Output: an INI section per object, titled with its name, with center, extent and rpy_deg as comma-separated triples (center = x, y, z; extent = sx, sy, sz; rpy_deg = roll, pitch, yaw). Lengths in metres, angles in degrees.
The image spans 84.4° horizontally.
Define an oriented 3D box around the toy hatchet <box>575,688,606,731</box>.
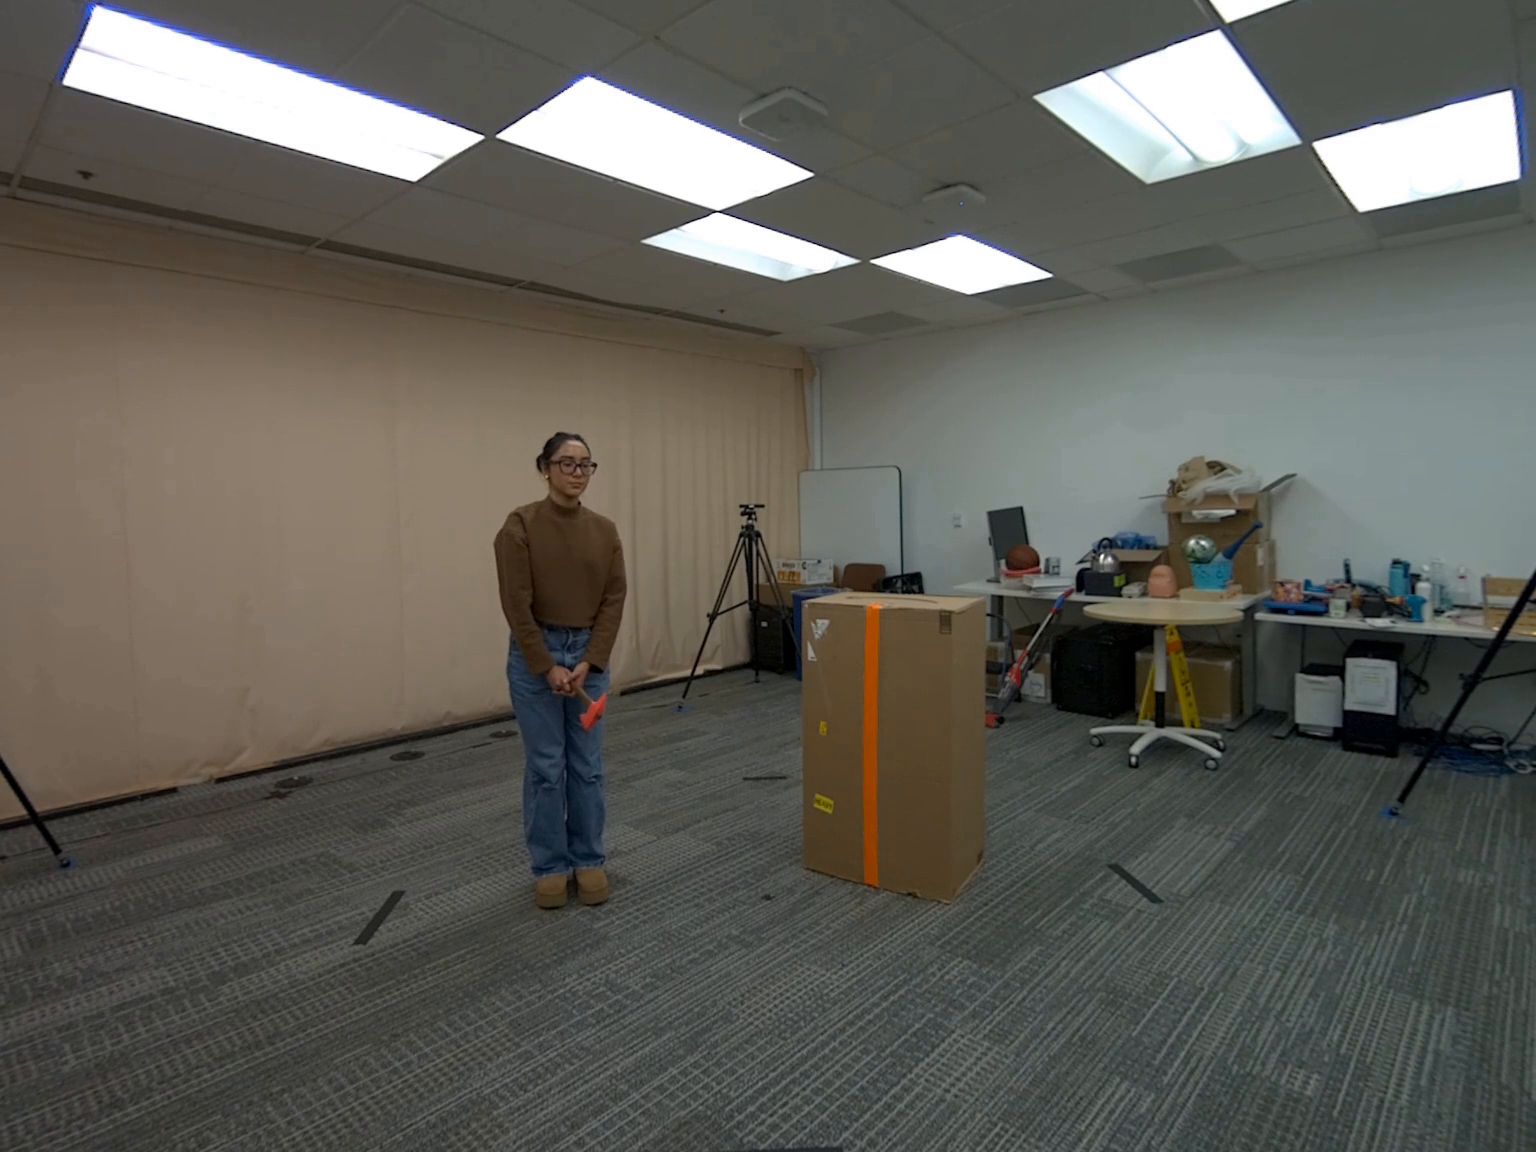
[toy hatchet]
center = -0.615, 0.422, 2.774
extent = 0.280, 0.131, 0.028
rpy_deg = 11, -6, 46
